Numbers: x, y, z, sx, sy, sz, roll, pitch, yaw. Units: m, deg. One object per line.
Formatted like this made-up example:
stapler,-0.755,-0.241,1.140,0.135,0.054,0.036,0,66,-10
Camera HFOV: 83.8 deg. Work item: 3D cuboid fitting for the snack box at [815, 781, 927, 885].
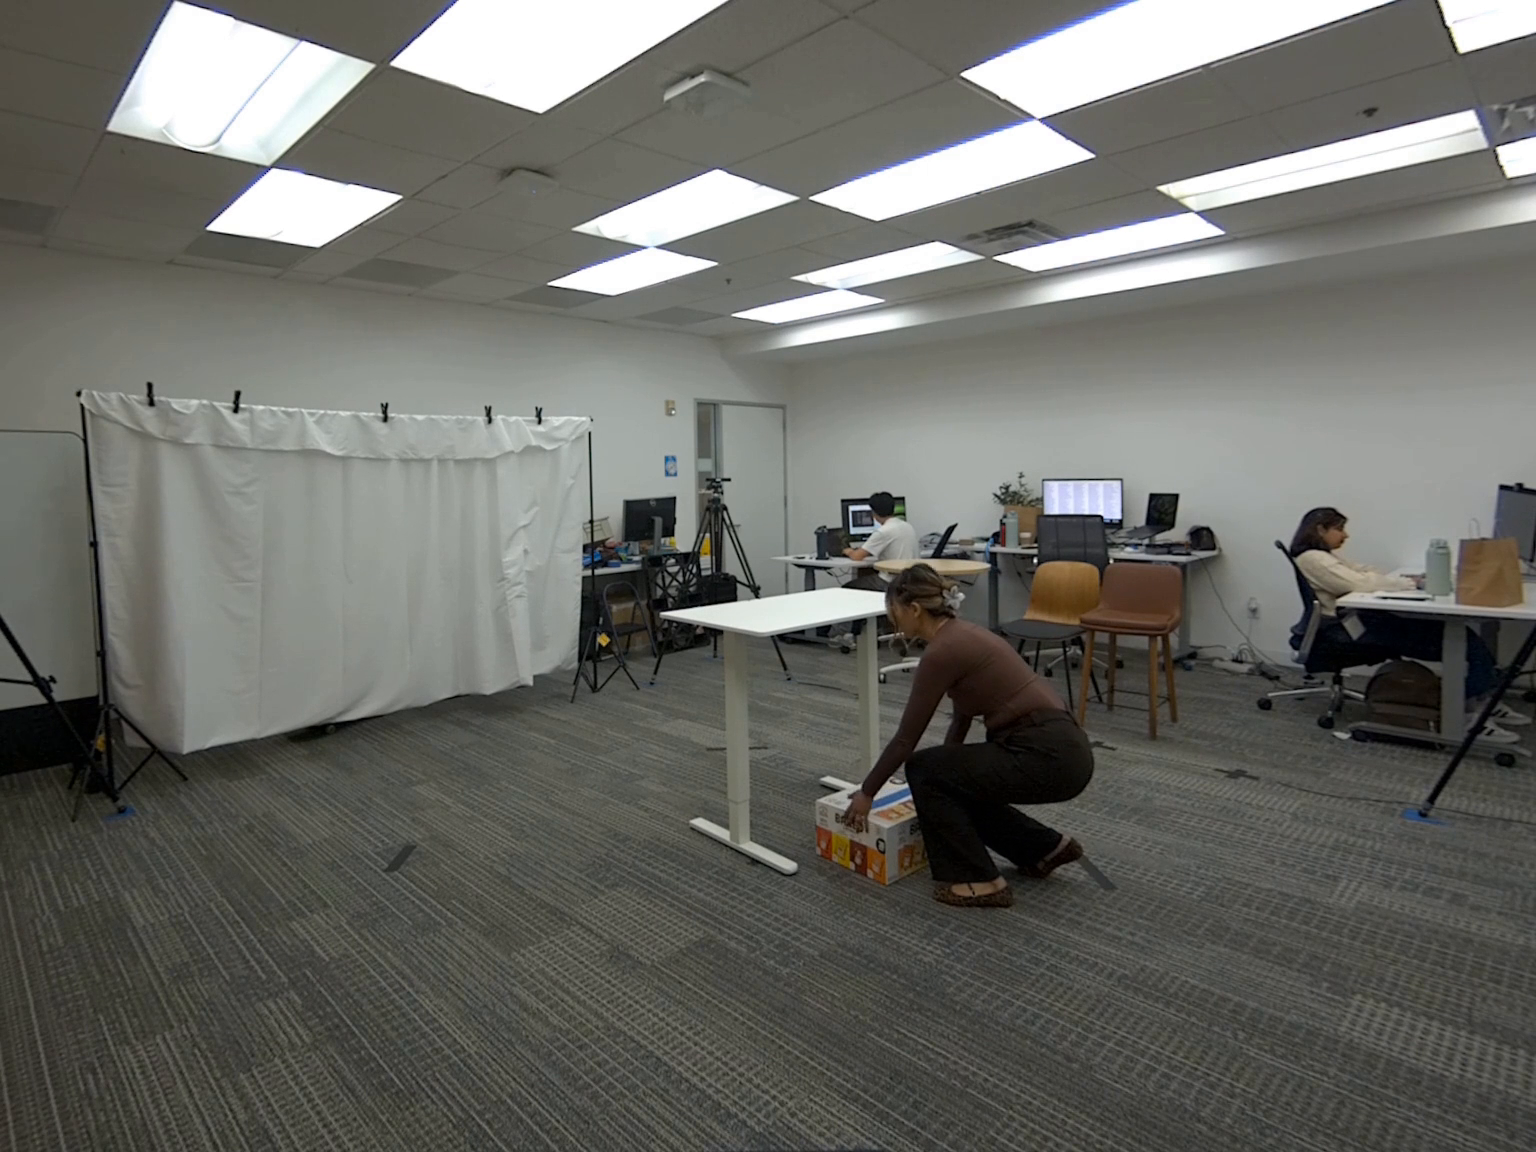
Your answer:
snack box,0.442,0.925,3.159,0.395,0.205,0.351,-7,8,-40
